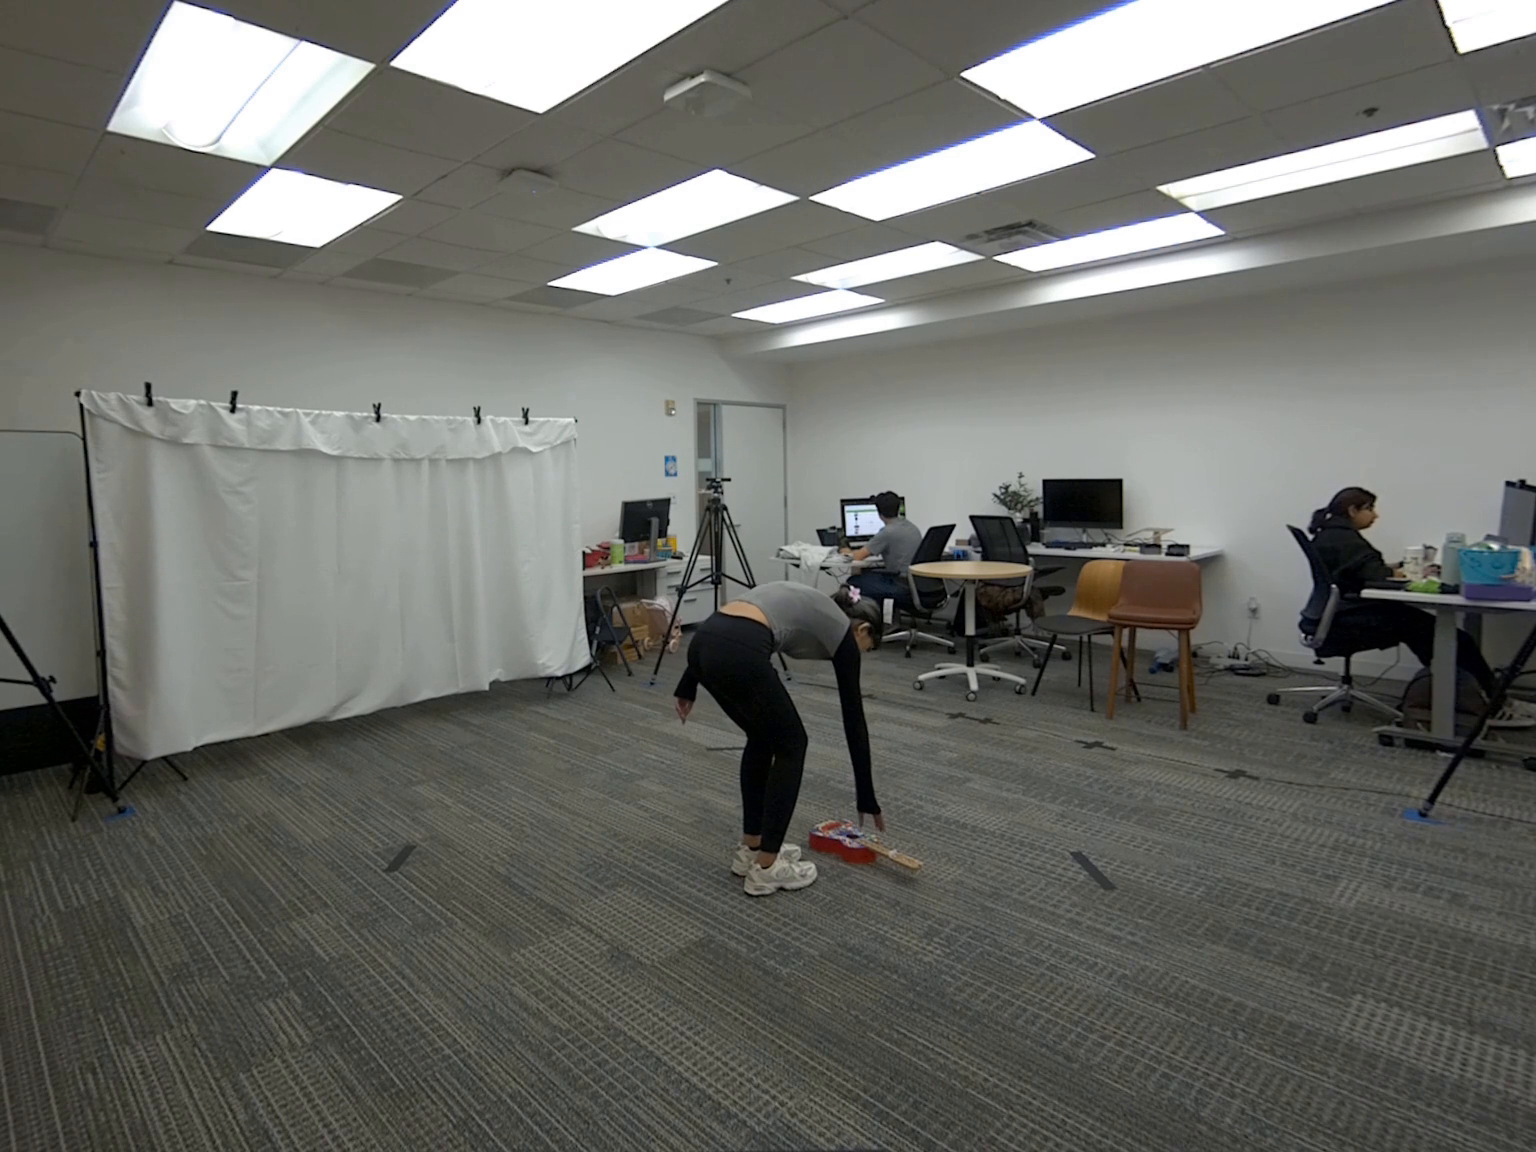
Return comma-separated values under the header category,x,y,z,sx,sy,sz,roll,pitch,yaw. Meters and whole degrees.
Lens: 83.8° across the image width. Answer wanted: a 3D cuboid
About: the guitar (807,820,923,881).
category,x,y,z,sx,sy,sz,roll,pitch,yaw
guitar,0.339,1.000,3.106,0.189,0.070,0.511,-4,6,-29
